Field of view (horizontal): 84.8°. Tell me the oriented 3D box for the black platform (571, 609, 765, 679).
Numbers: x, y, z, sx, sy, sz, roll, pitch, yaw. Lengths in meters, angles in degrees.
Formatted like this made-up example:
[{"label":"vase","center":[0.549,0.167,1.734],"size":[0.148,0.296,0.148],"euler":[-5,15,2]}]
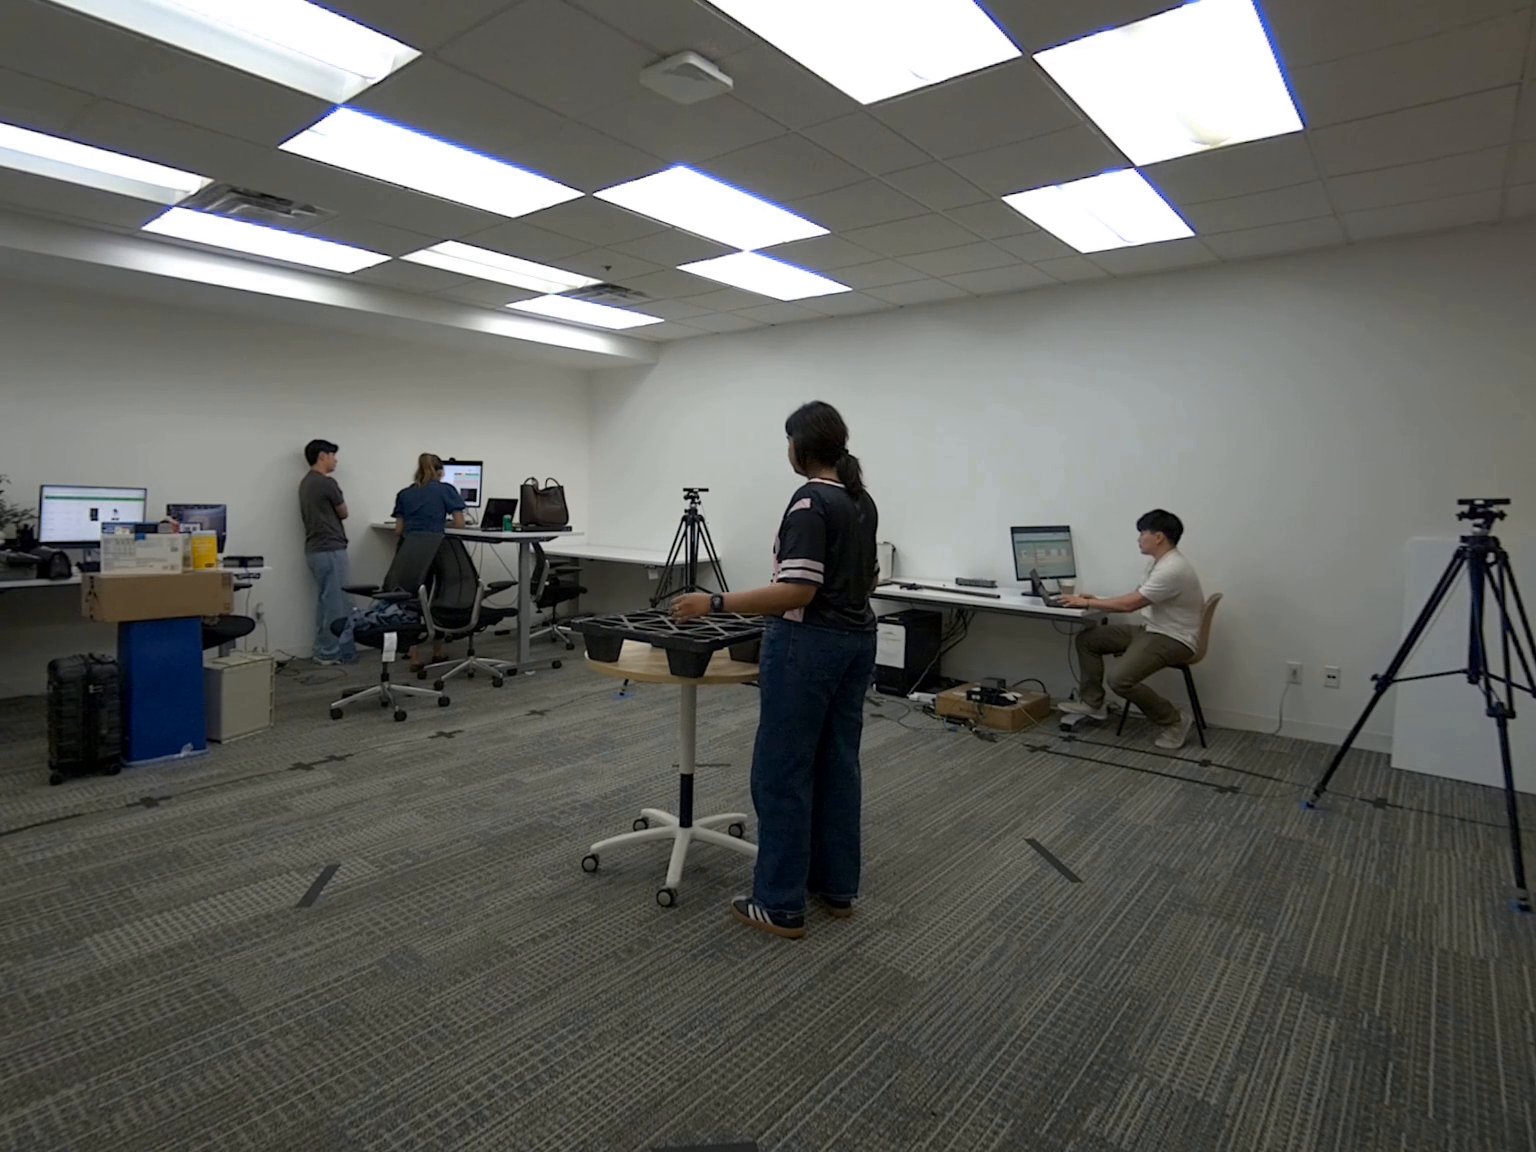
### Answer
[{"label":"black platform","center":[-0.234,0.218,3.128],"size":[0.625,0.143,0.784],"euler":[5,7,34]}]
